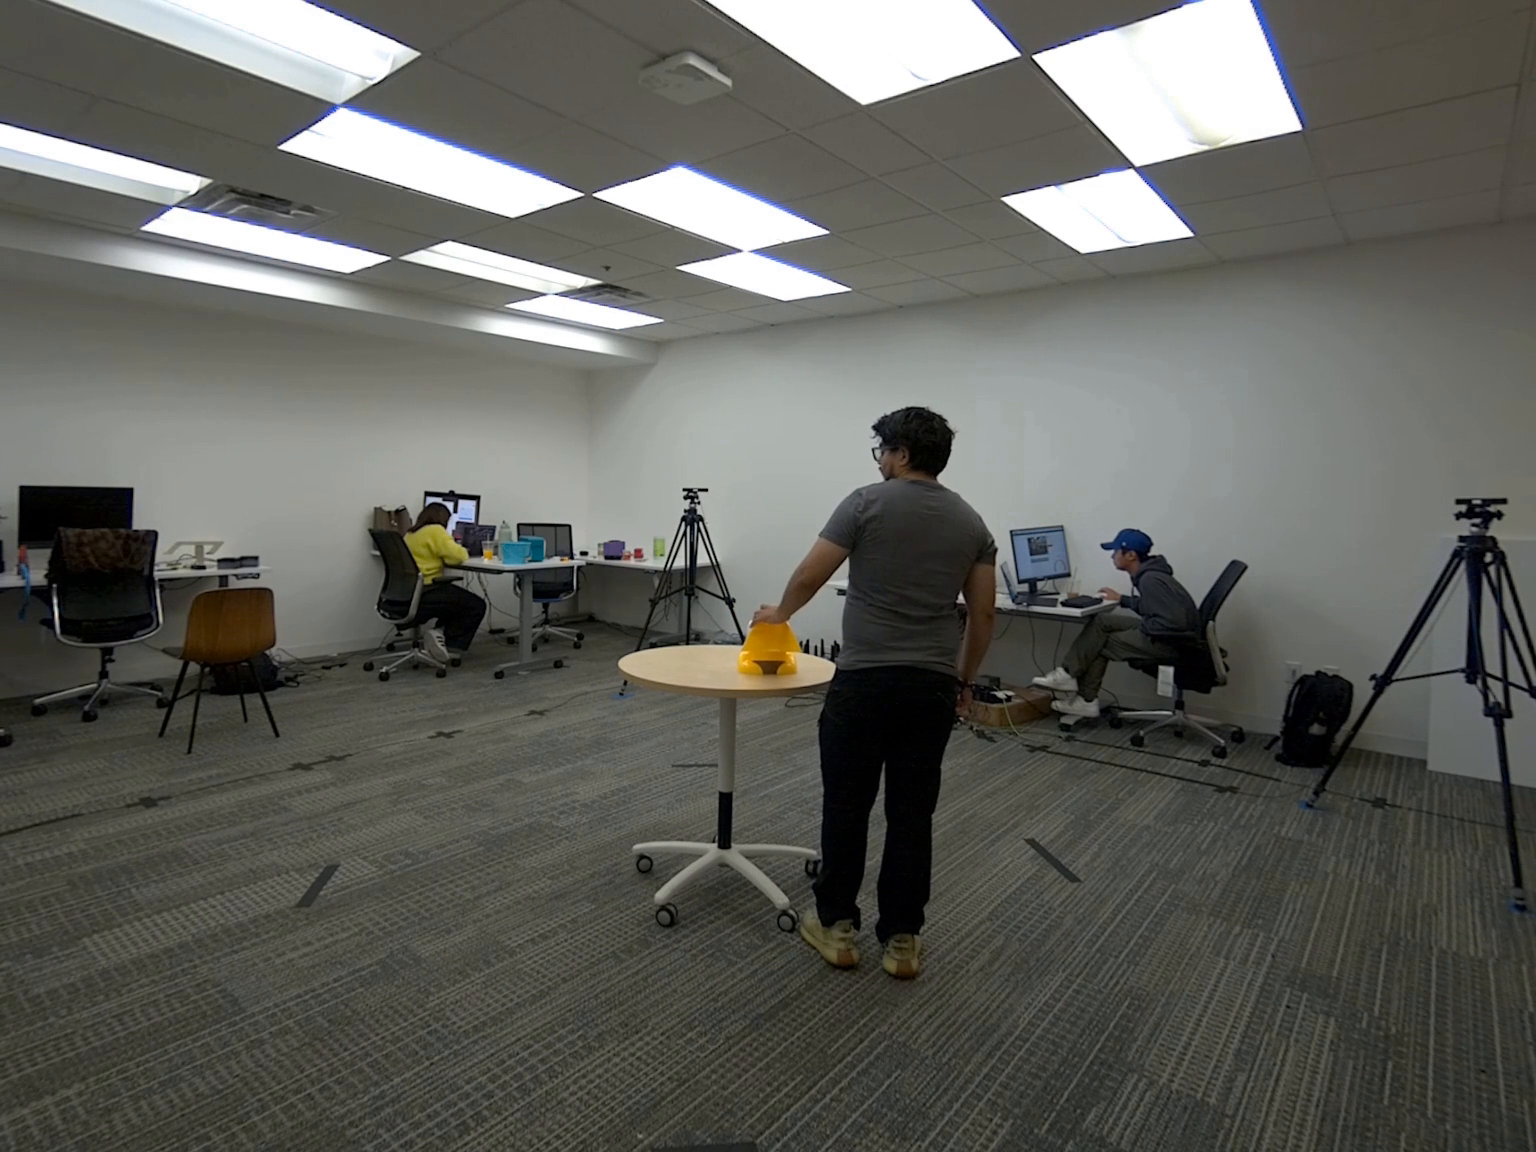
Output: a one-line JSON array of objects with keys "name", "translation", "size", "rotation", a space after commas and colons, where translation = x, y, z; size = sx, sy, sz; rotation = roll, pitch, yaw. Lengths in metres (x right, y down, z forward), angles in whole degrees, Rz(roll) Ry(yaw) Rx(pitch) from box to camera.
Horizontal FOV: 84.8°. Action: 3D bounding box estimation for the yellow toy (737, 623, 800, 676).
[{"name": "yellow toy", "translation": [-0.011, 0.200, 2.865], "size": [0.203, 0.230, 0.195], "rotation": [1, 5, -8]}]
